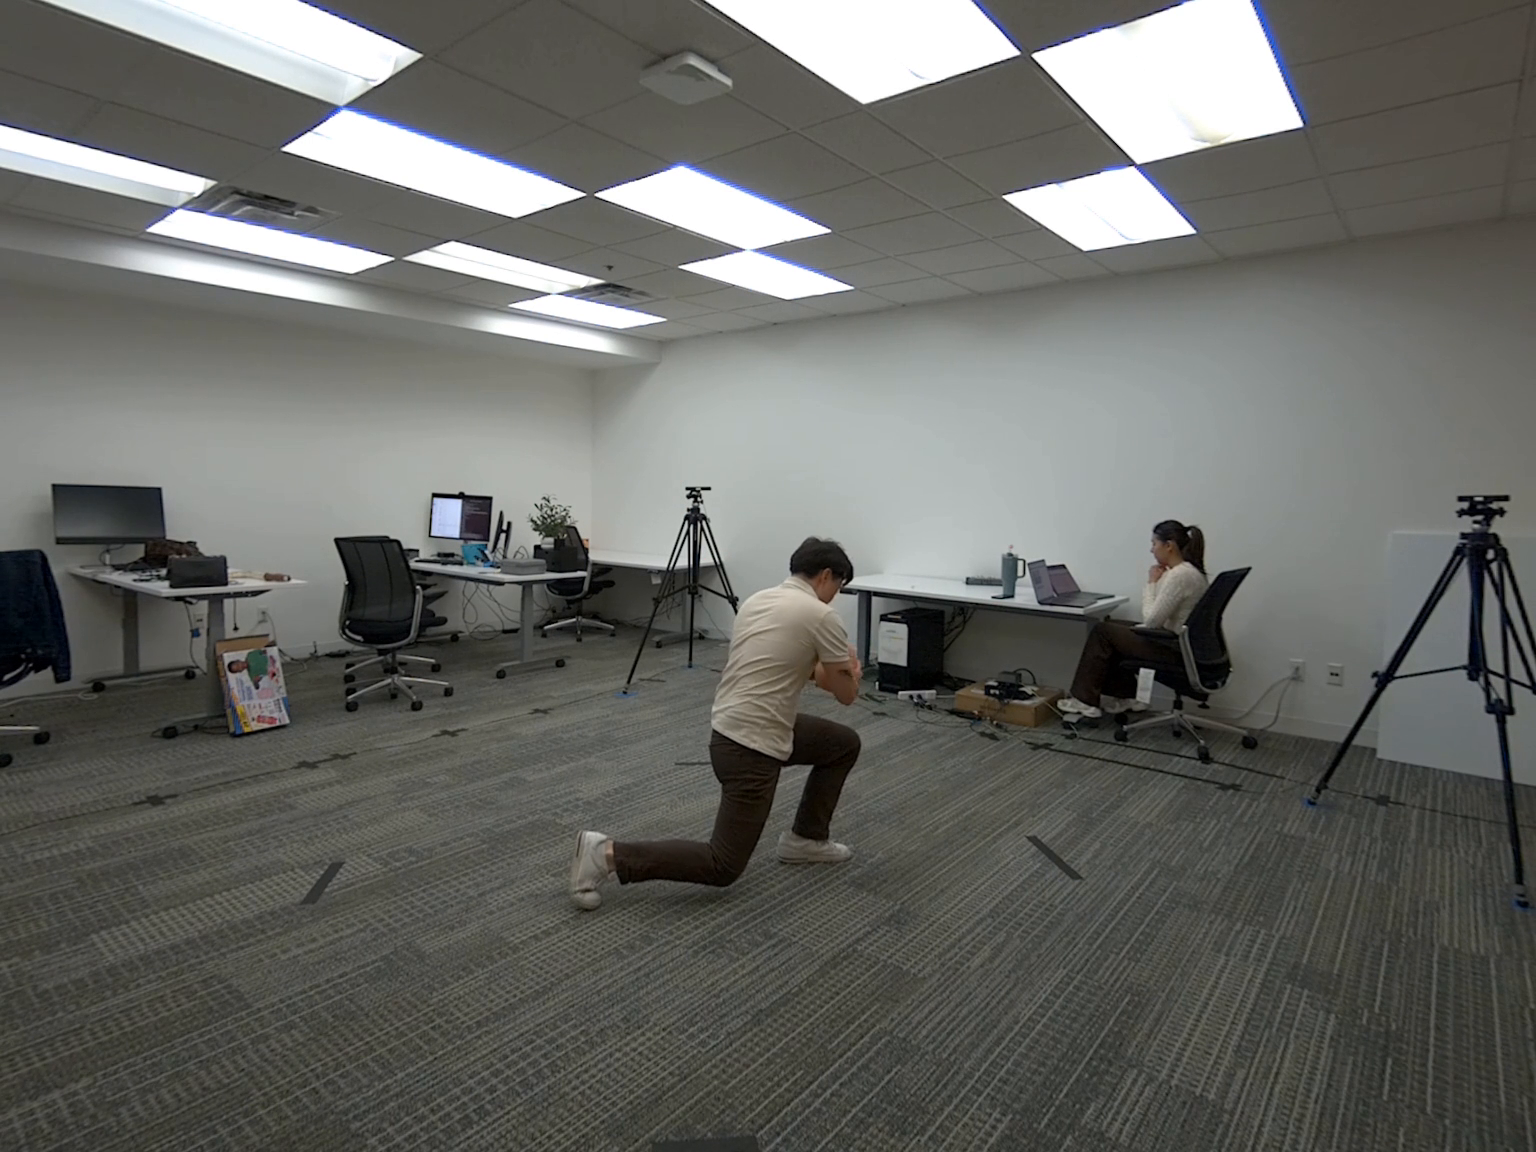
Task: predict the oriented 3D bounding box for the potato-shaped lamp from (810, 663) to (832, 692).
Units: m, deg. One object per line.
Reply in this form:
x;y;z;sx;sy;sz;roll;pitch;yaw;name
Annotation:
0.239;0.348;3.348;0.166;0.196;0.171;-5;17;-39;potato-shaped lamp
